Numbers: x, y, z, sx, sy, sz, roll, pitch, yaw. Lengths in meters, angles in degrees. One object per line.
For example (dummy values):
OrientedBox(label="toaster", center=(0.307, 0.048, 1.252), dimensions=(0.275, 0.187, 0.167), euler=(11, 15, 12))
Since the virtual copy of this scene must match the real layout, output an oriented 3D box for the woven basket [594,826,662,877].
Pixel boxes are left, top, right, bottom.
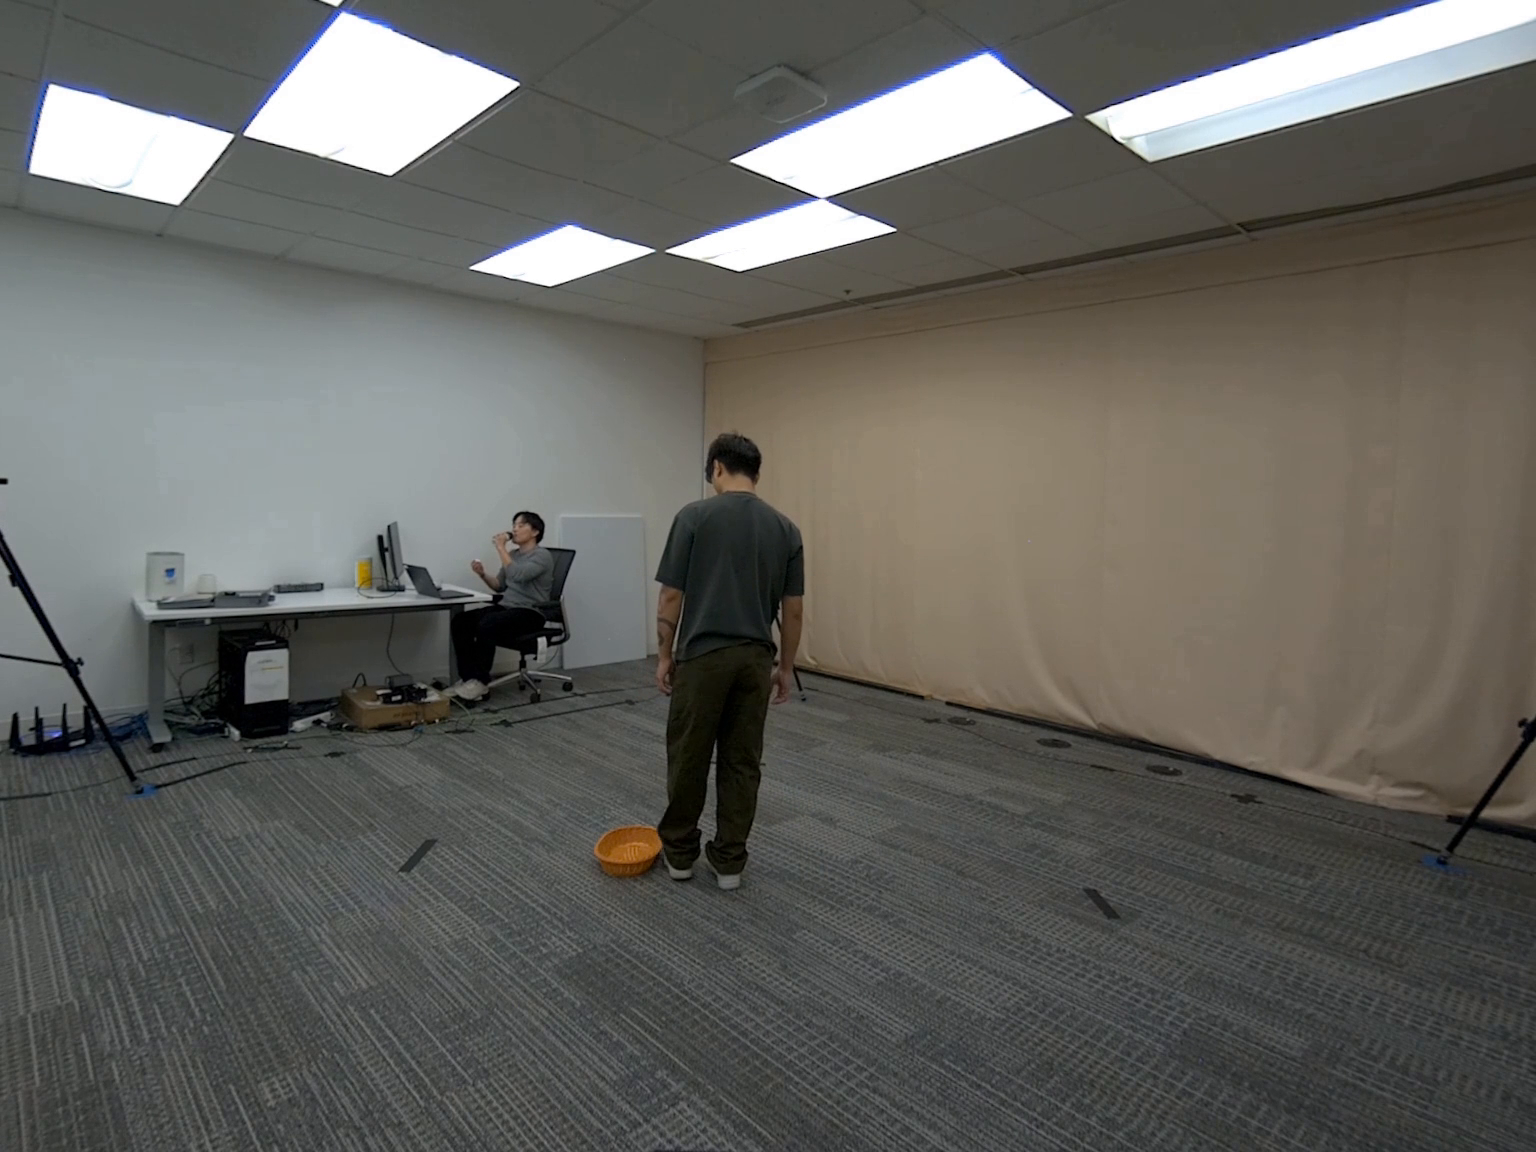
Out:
OrientedBox(label="woven basket", center=(-0.534, 1.046, 3.214), dimensions=(0.254, 0.073, 0.349), euler=(2, 6, 9))
